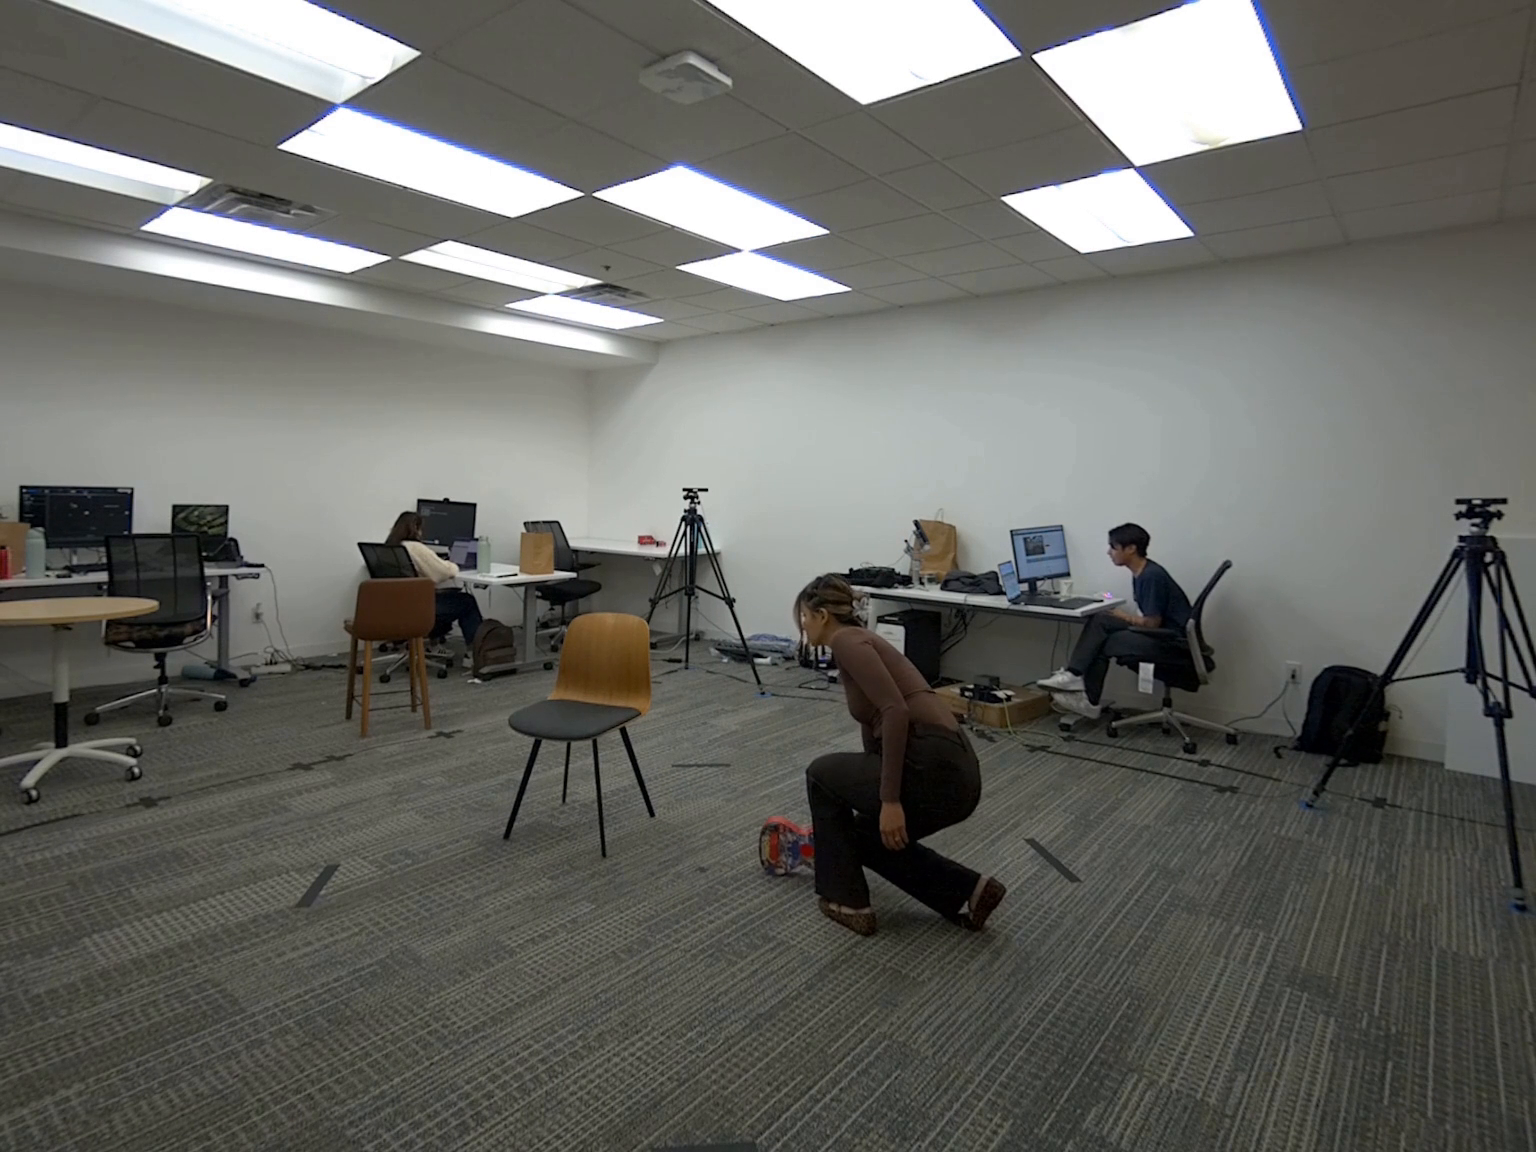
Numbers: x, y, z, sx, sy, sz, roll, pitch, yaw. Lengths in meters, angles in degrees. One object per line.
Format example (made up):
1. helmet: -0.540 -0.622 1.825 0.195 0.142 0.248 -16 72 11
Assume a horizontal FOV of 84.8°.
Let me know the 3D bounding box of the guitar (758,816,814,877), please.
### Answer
1. guitar: 0.208 0.996 3.059 0.503 0.193 0.070 10 0 9
